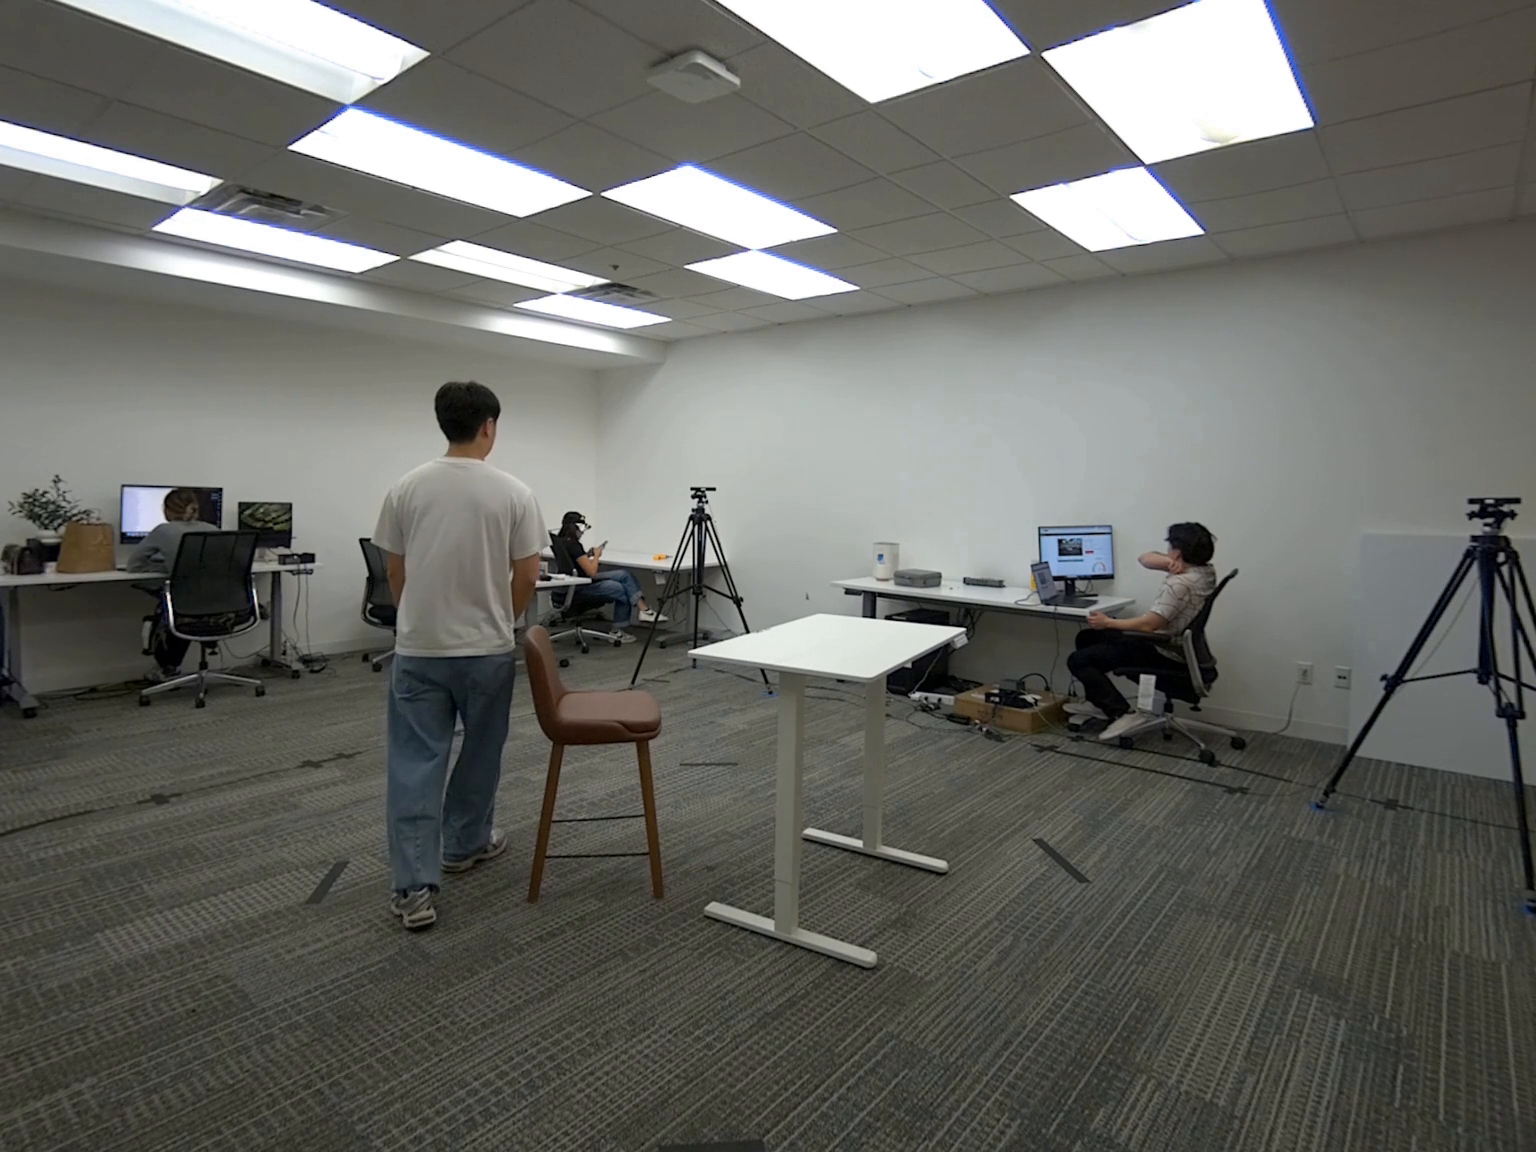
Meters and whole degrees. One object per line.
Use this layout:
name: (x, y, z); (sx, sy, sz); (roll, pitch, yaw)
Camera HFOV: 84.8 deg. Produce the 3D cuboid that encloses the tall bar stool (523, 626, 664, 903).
tall bar stool: (-0.627, 0.632, 3.023); (0.463, 0.887, 0.462); (-2, 3, -10)
